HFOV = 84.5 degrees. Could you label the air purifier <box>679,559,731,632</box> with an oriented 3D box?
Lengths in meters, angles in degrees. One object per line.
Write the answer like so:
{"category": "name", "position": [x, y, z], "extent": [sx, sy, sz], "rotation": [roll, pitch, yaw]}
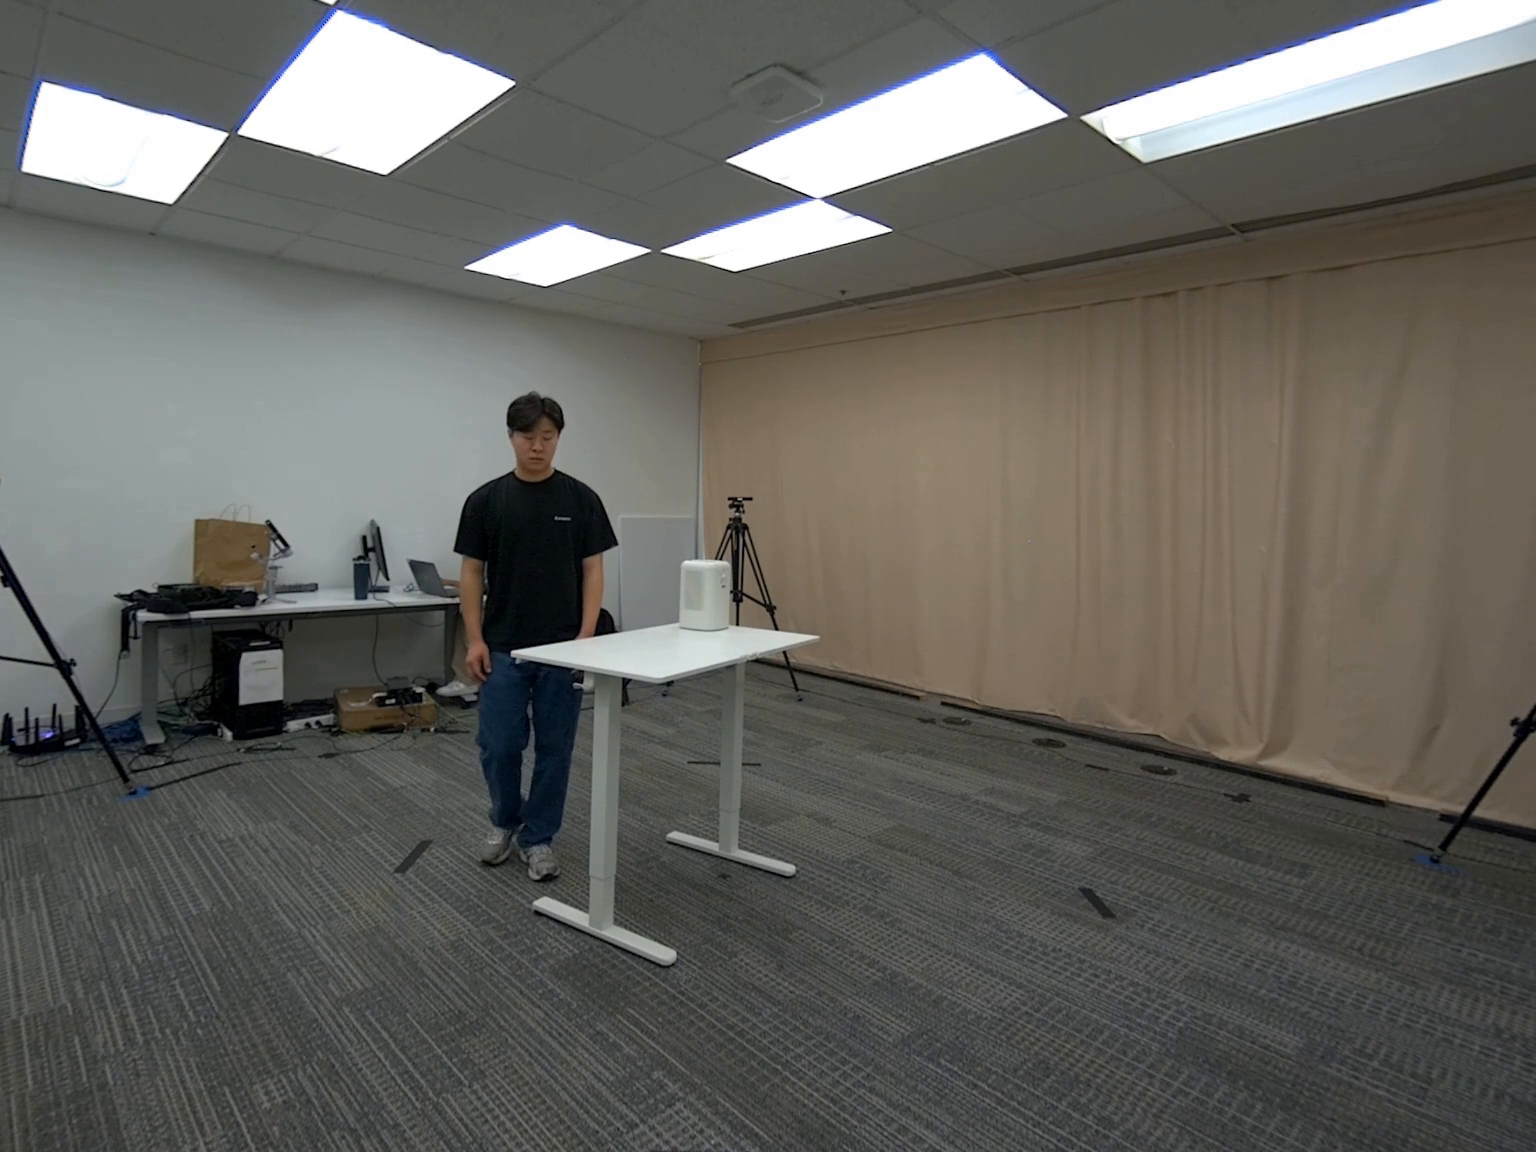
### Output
{"category": "air purifier", "position": [-0.252, 0.075, 3.313], "extent": [0.175, 0.265, 0.168], "rotation": [3, 4, 29]}
